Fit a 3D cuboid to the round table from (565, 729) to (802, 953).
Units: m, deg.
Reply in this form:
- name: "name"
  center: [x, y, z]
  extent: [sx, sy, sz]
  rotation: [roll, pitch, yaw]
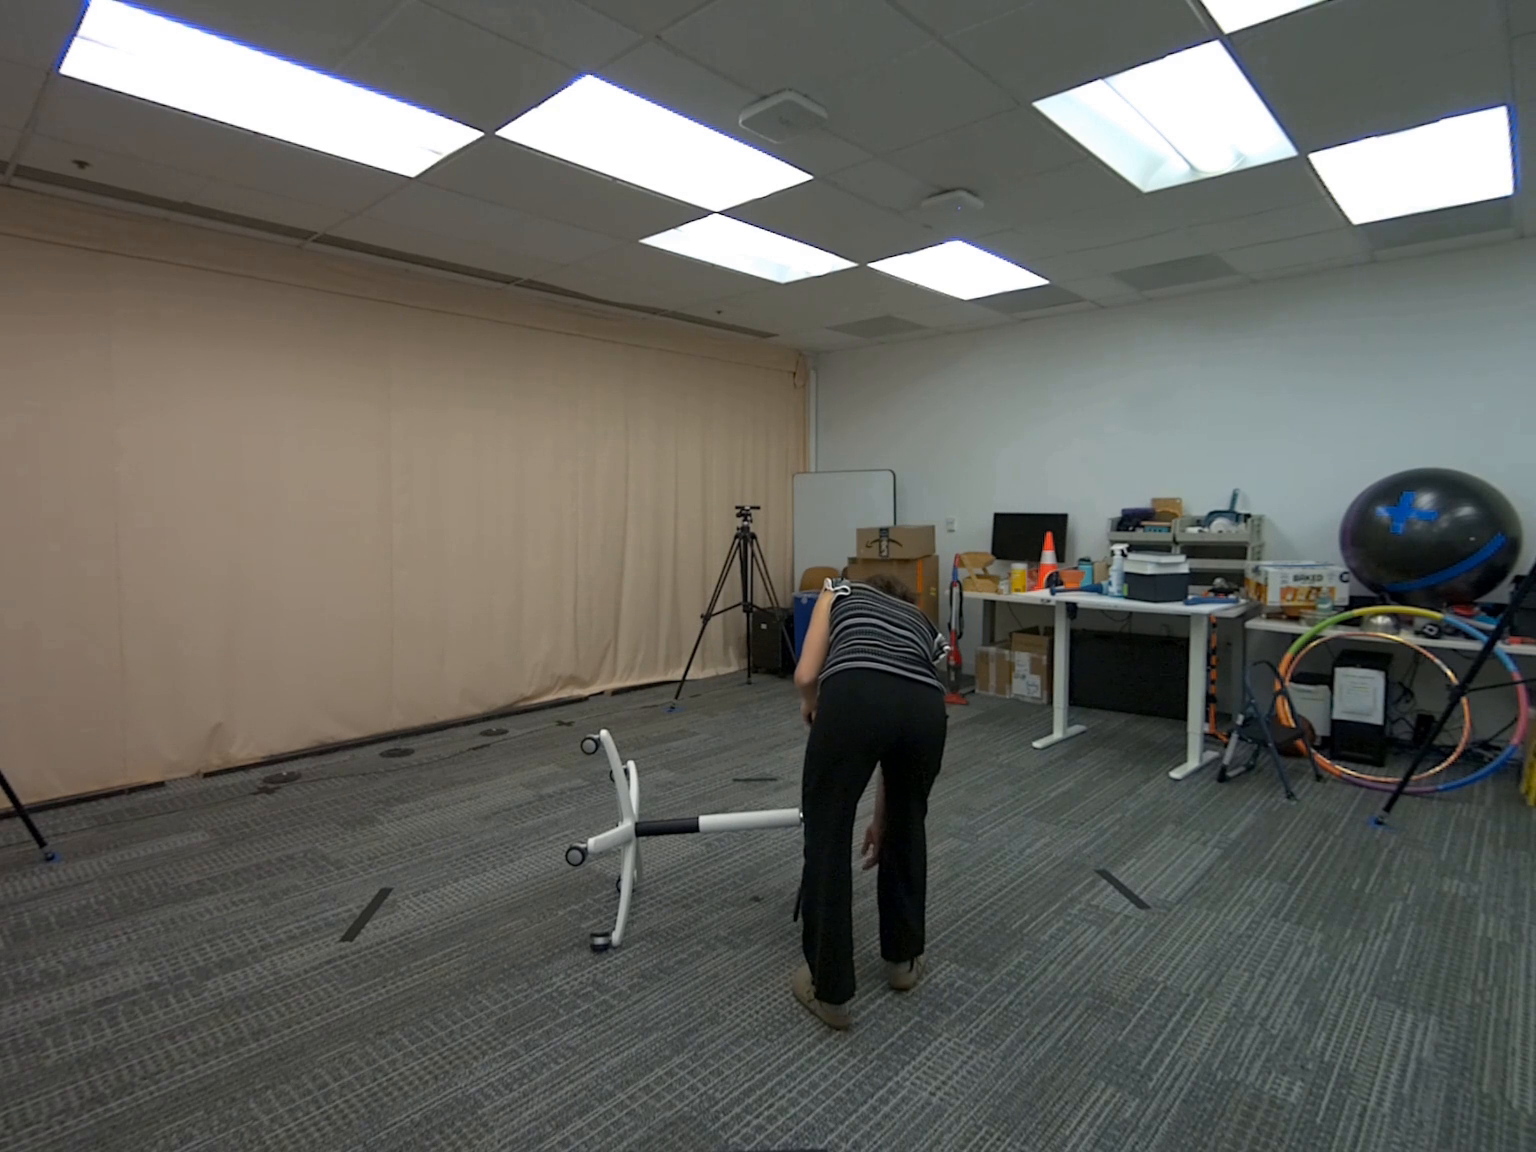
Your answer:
- name: "round table"
  center: [-0.189, 0.824, 2.791]
  extent: [0.791, 0.783, 0.782]
  rotation: [-6, 3, 5]
